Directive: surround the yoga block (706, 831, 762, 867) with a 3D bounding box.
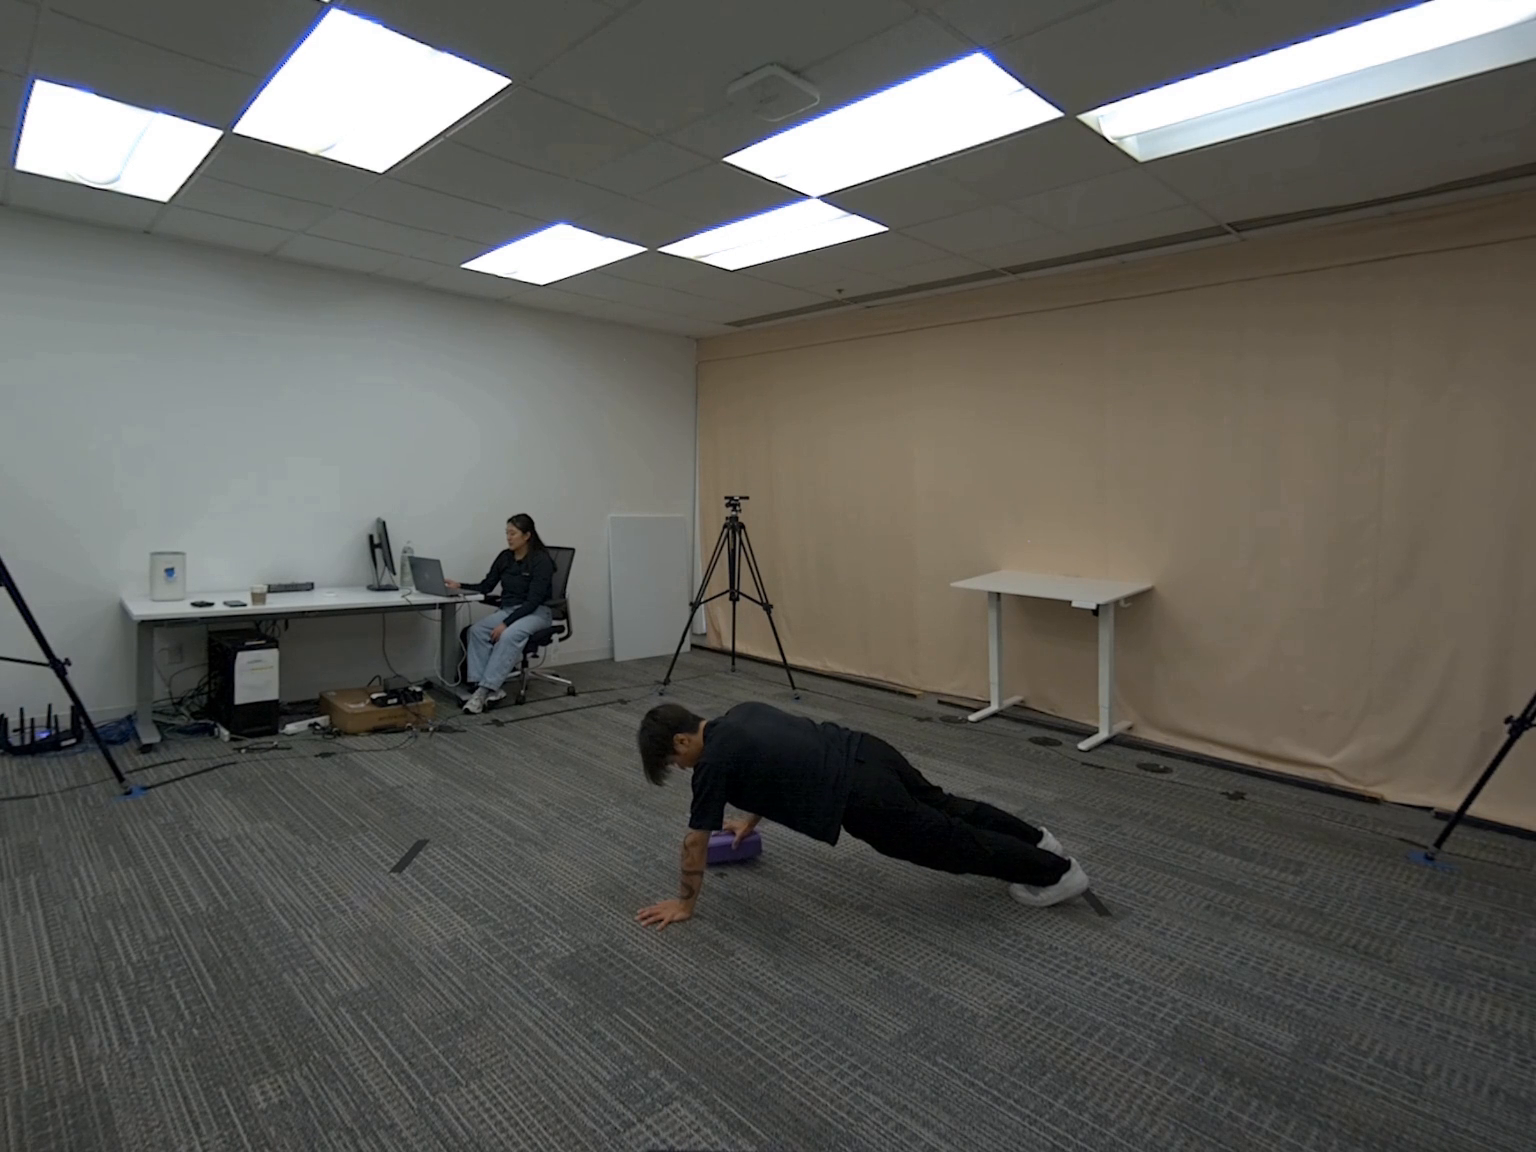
[{"bbox_3d":[-0.152,1.032,3.235,0.228,0.076,0.150,-3,6,-7],"label":"yoga block"}]
